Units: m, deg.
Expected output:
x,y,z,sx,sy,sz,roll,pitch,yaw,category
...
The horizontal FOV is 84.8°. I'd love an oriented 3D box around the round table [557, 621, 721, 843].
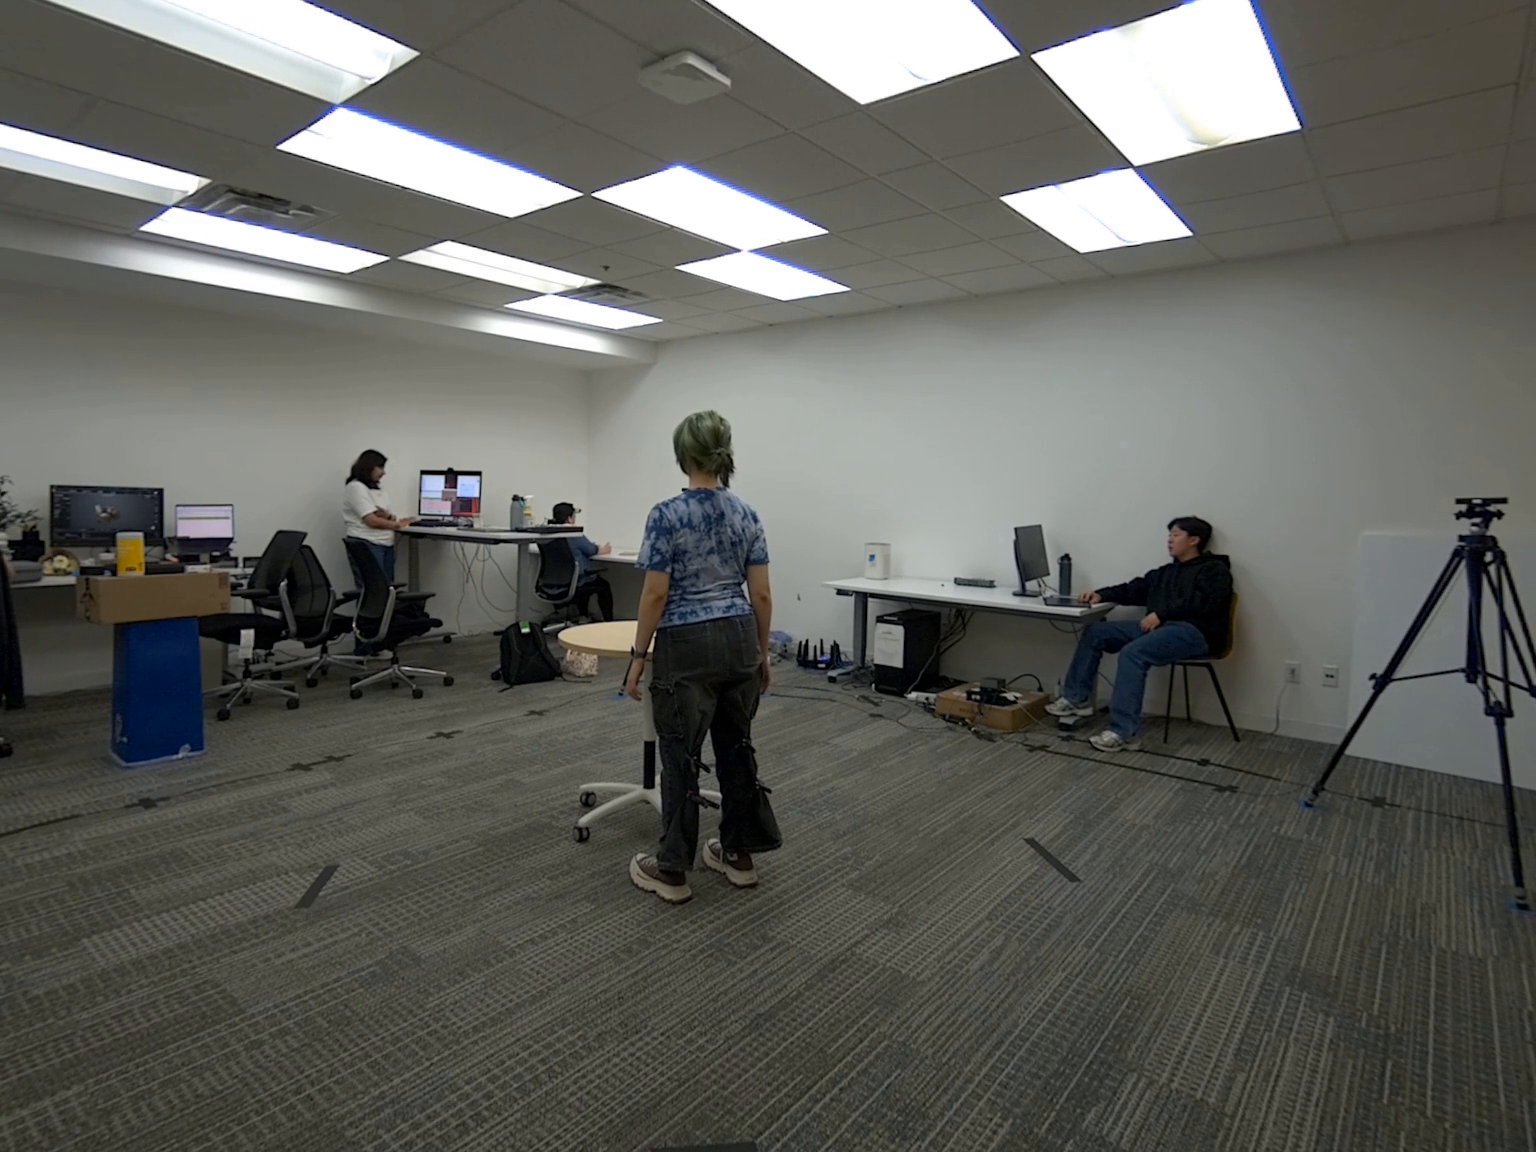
x,y,z,sx,sy,sz,roll,pitch,yaw,category
-0.502,0.635,3.548,0.763,0.792,0.767,1,4,-2,round table
